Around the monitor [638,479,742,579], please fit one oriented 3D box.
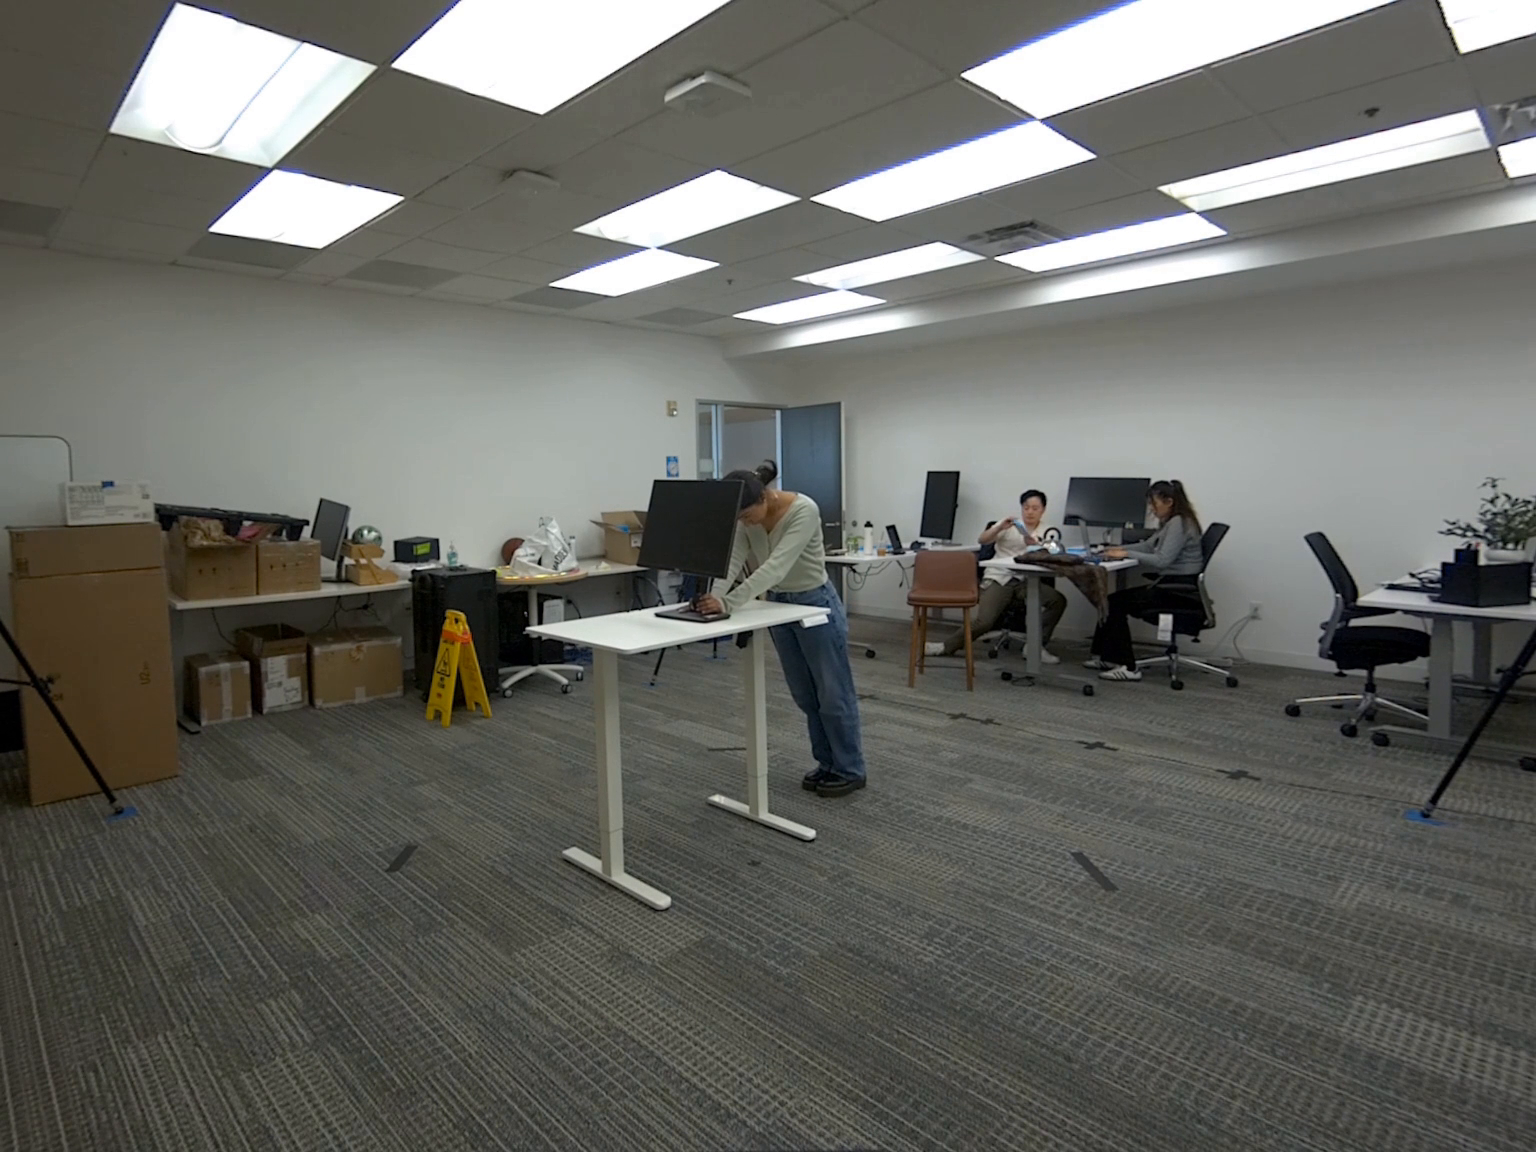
[{"bbox_3d":[-0.275,-0.098,3.204,0.182,0.521,0.556,-3,6,-43],"label":"monitor"}]
